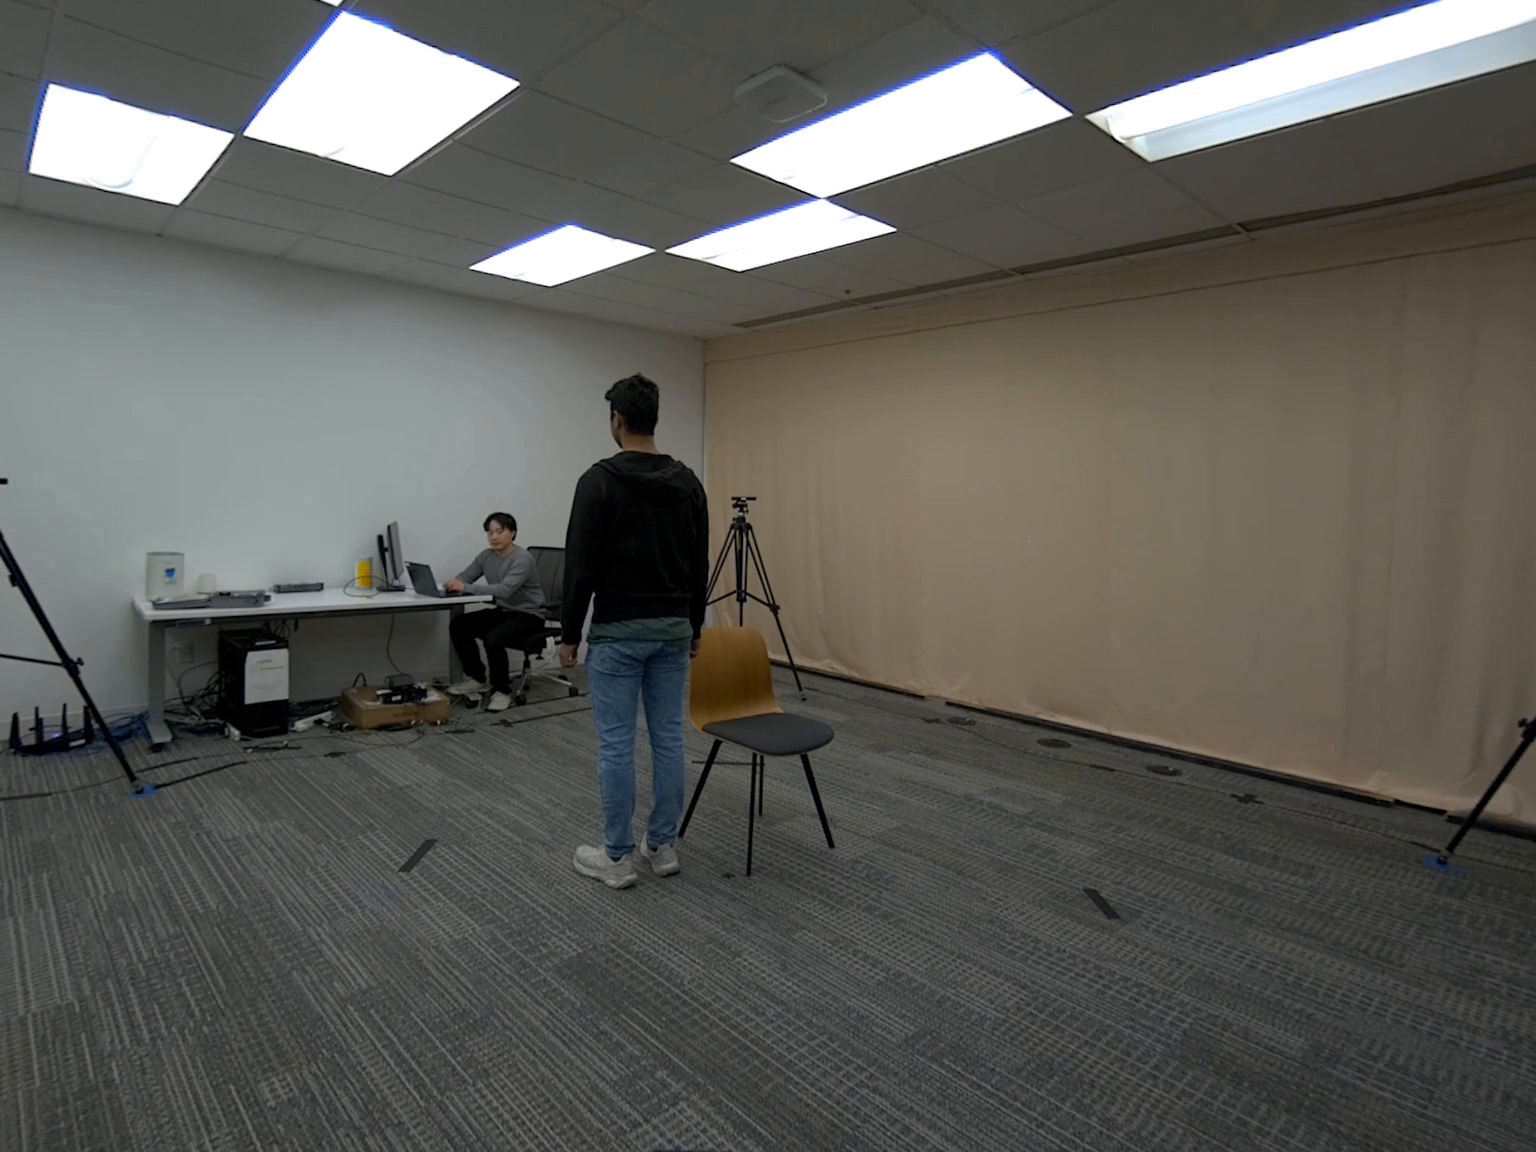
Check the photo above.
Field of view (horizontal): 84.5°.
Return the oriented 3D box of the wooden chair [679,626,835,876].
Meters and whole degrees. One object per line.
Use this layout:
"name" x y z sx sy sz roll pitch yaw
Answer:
"wooden chair" -0.043 0.659 3.384 0.467 0.878 0.535 -1 -1 -40
